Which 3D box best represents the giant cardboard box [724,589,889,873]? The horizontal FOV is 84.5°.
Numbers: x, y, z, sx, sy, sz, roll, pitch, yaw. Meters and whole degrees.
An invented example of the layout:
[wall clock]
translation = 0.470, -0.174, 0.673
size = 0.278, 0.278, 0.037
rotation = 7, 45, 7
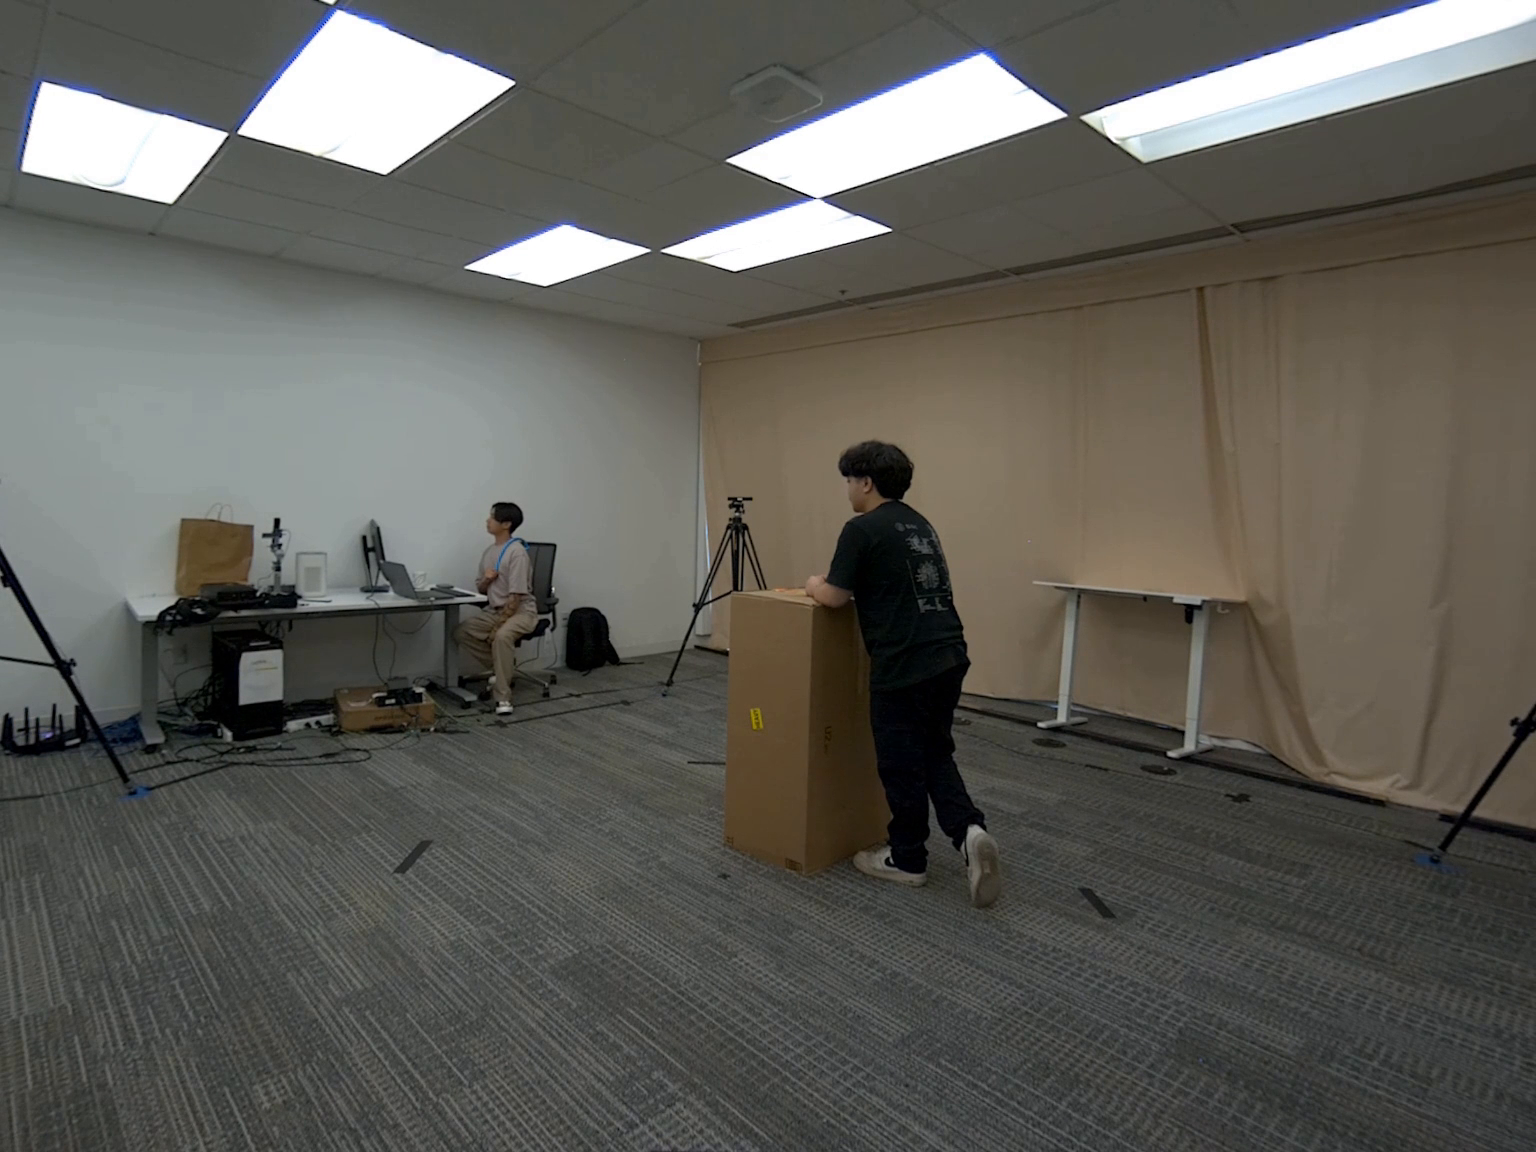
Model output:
[giant cardboard box]
translation = 0.171, 0.576, 3.438
size = 0.458, 1.025, 0.570
rotation = 4, 3, 44
